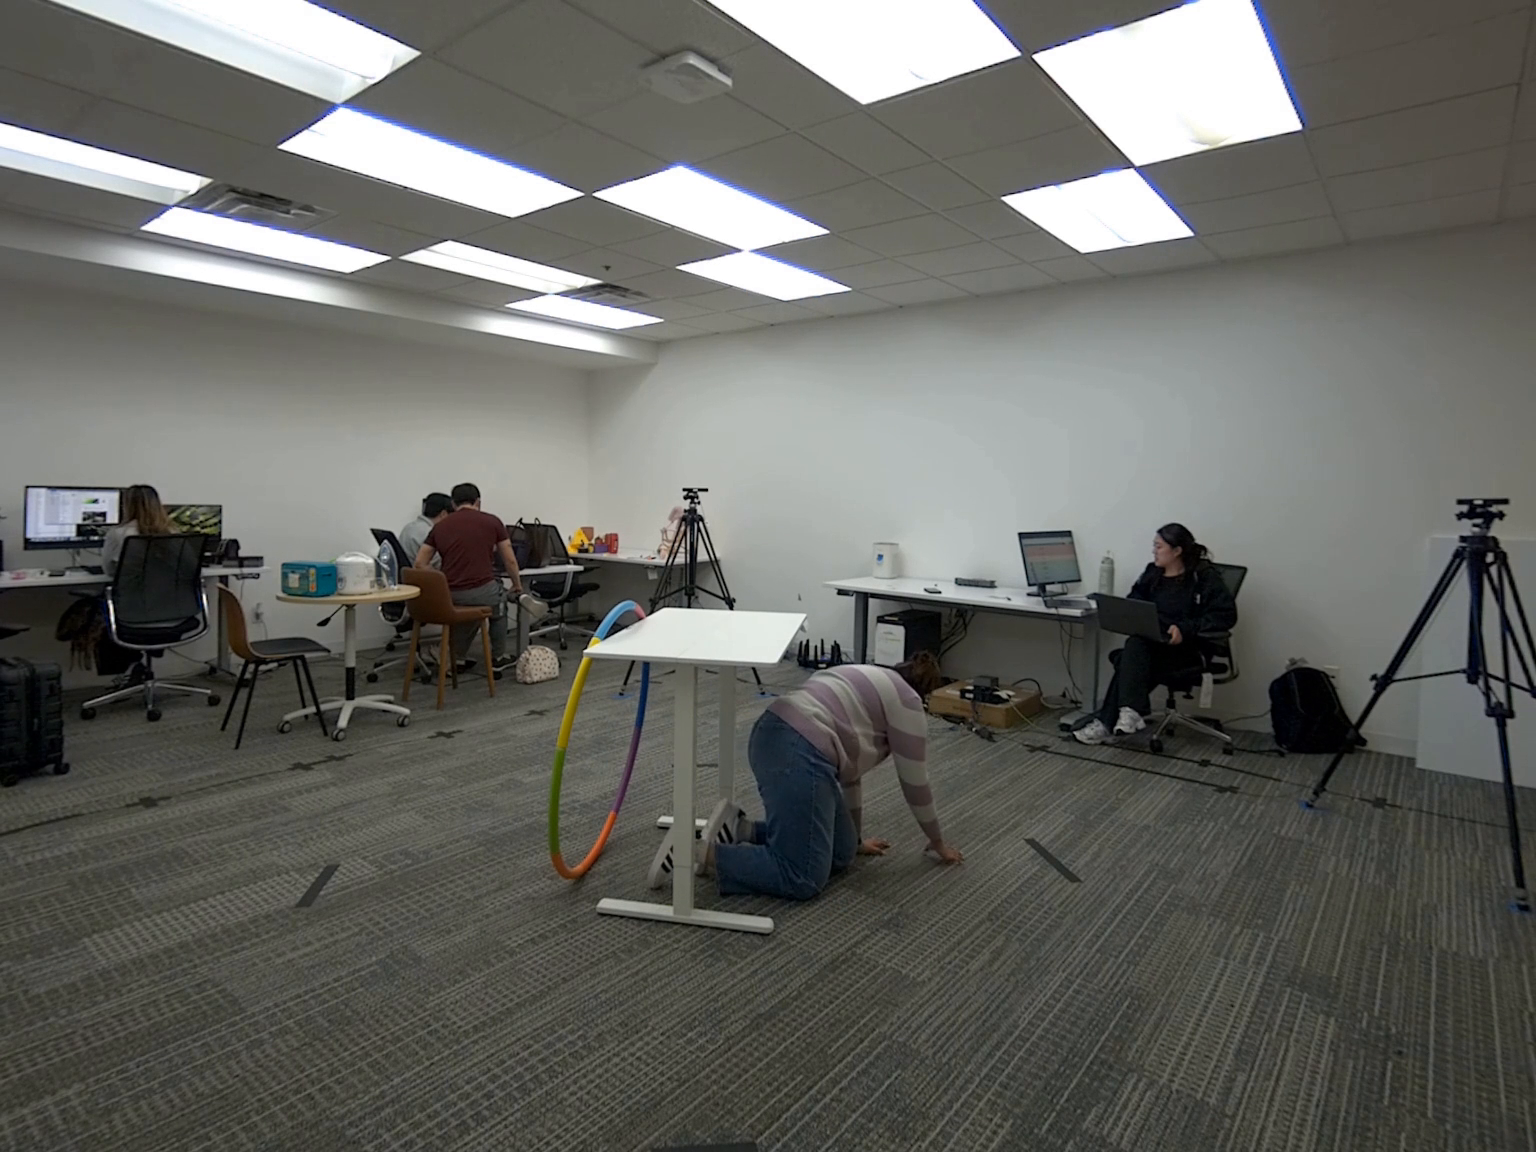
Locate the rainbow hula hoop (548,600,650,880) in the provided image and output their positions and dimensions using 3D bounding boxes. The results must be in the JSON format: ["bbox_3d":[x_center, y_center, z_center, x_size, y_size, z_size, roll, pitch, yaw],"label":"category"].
[{"bbox_3d":[-0.603,0.584,3.090,0.036,0.975,0.971,9,5,7],"label":"rainbow hula hoop"}]
